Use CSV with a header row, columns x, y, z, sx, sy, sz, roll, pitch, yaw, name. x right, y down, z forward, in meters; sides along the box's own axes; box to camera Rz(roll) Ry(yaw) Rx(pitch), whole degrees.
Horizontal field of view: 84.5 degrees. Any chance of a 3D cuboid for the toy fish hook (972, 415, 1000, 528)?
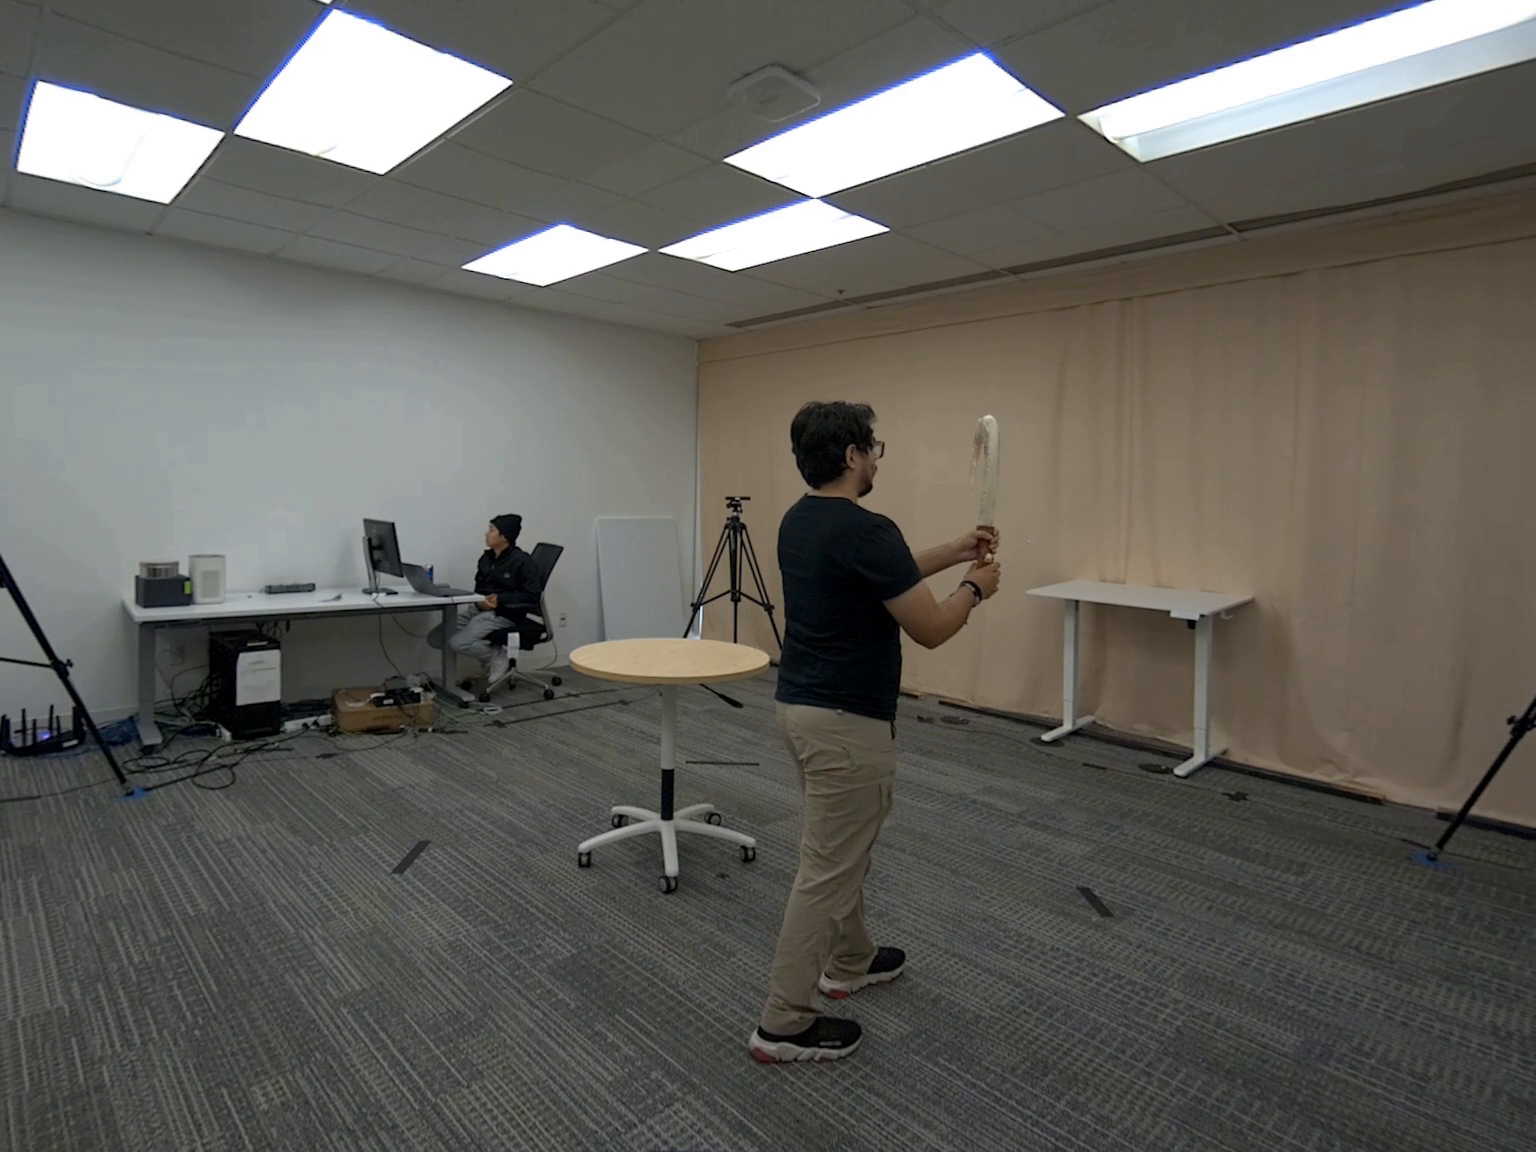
x,y,z,sx,sy,sz,roll,pitch,yaw,name
0.596,-0.190,2.331,0.048,0.507,0.224,2,0,2,toy fish hook
